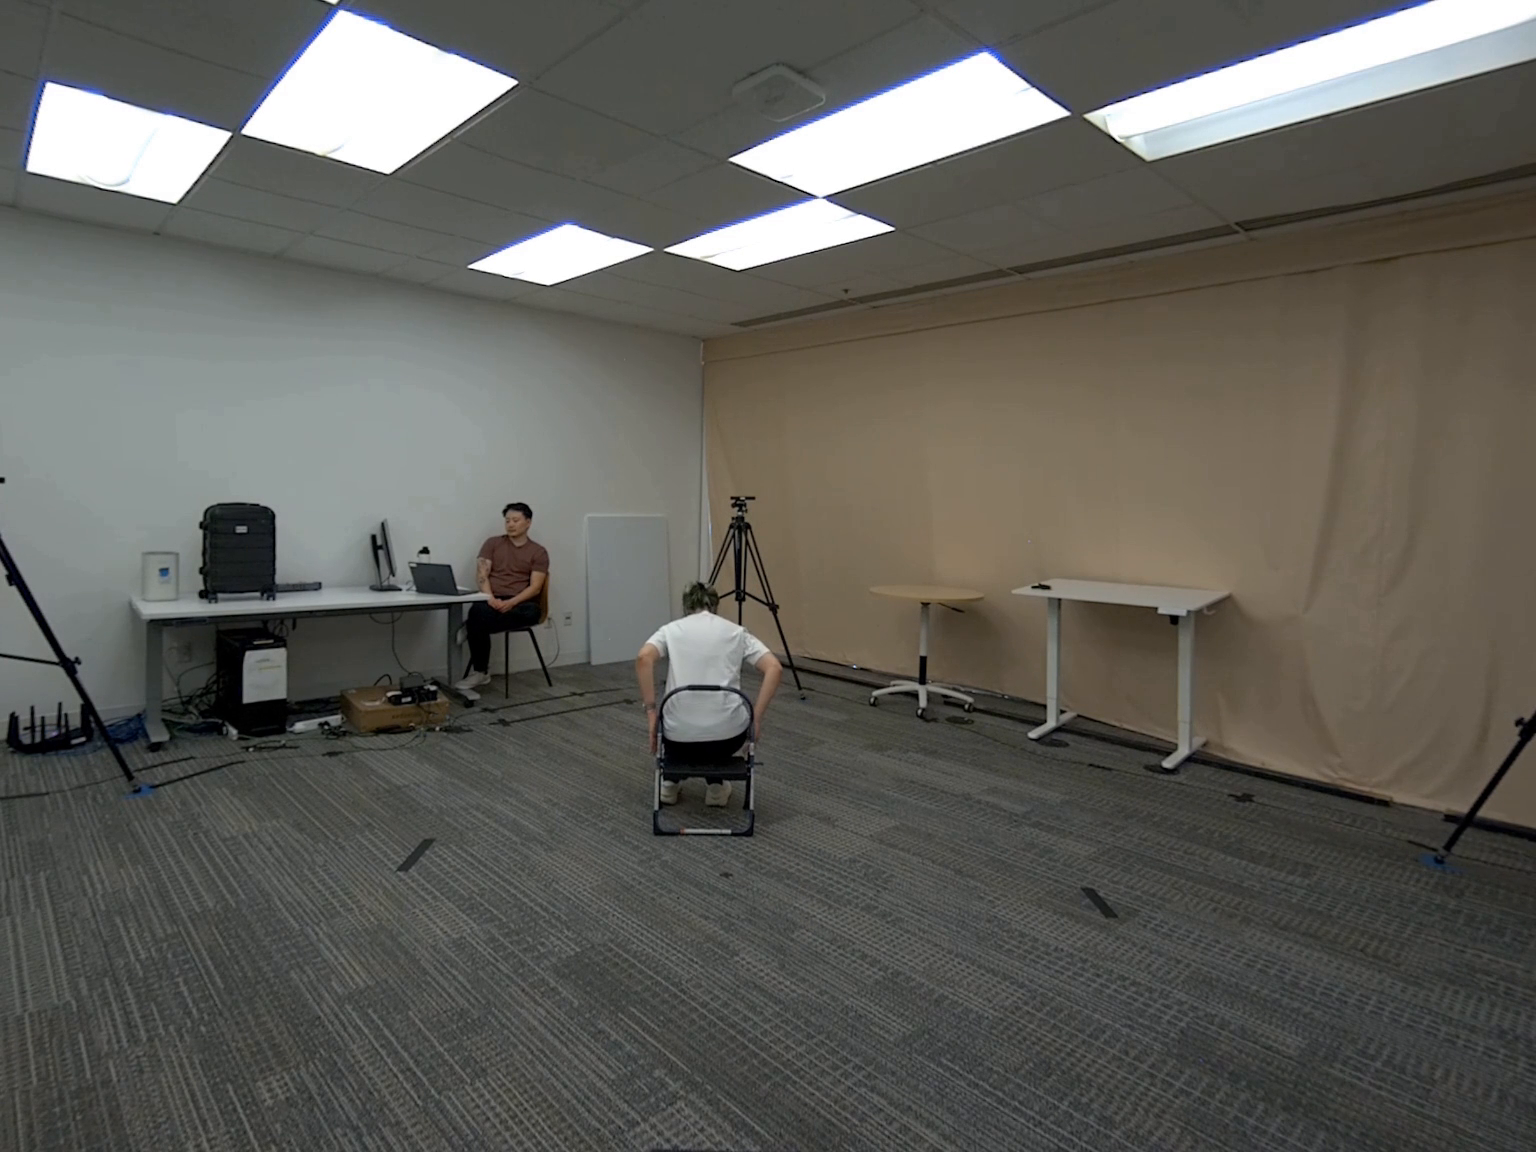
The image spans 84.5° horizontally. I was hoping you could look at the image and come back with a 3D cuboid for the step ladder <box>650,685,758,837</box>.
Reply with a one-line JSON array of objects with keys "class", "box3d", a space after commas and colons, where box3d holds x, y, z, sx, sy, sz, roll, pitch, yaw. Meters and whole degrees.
[{"class": "step ladder", "box3d": [-0.287, 0.756, 3.609, 0.429, 0.605, 0.351, 1, 3, -4]}]
